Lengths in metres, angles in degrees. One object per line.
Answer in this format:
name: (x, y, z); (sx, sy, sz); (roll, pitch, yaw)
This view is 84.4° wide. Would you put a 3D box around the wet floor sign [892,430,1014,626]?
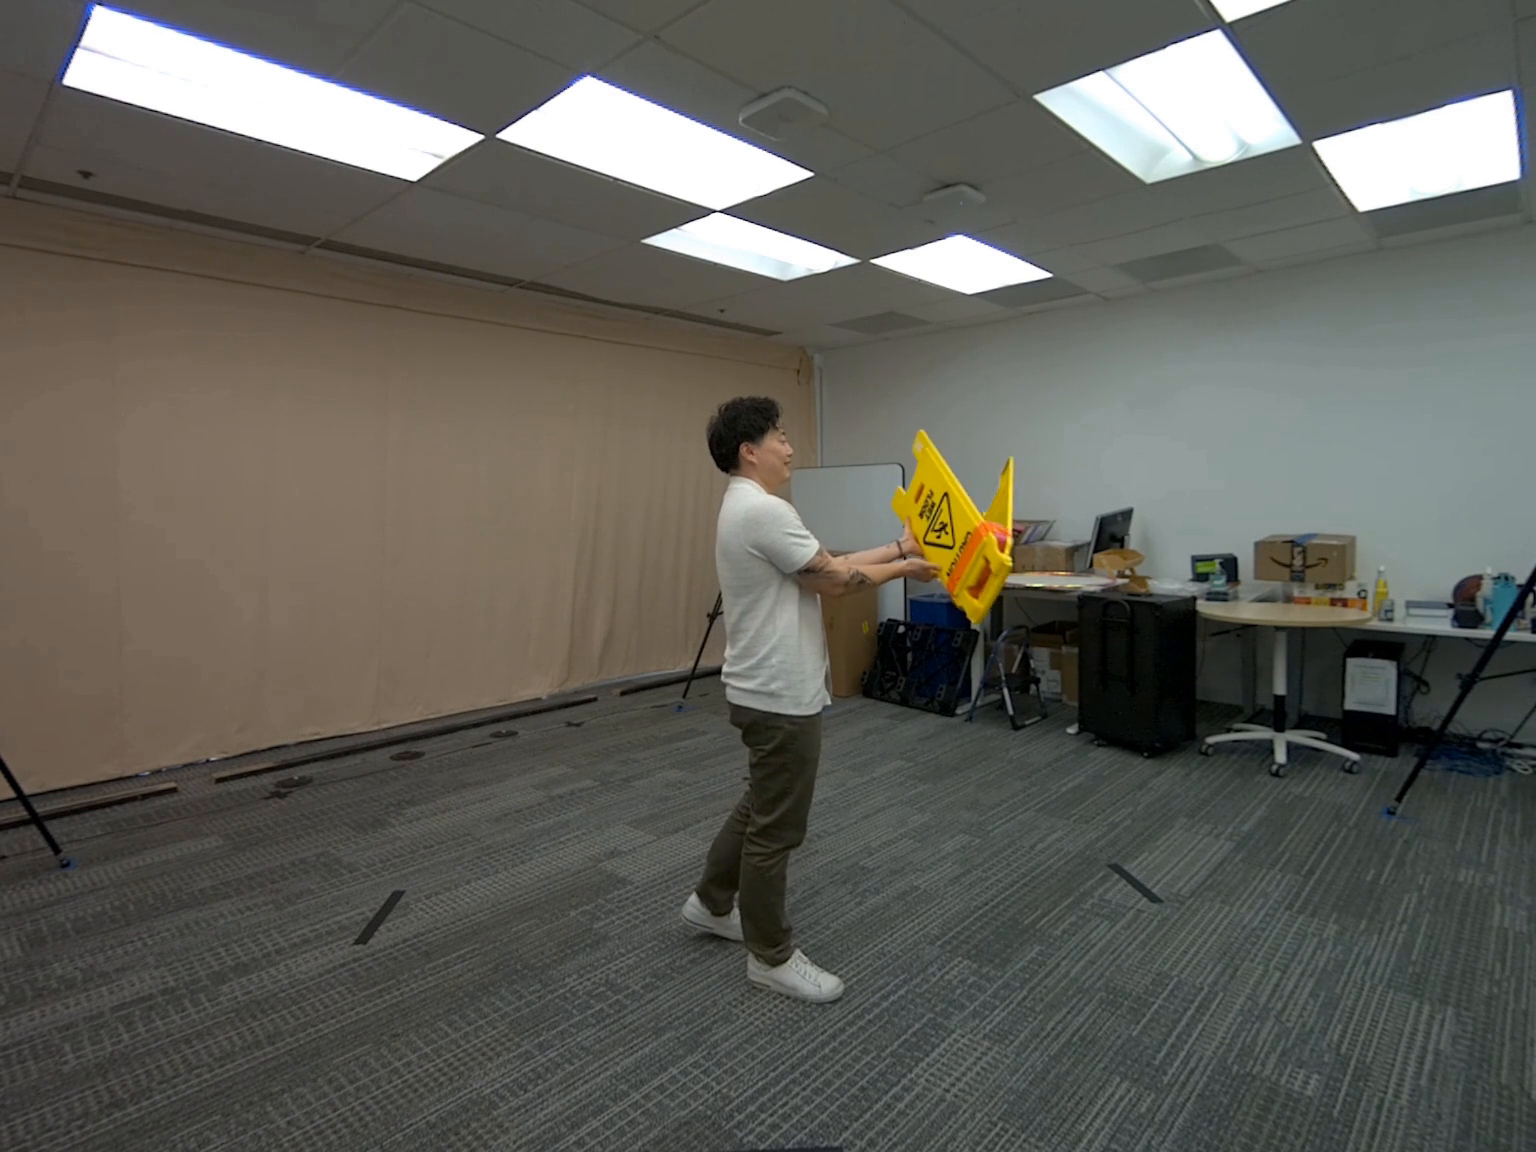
wet floor sign: (0.580, -0.120, 2.409); (0.287, 0.280, 0.656); (14, 34, -7)
